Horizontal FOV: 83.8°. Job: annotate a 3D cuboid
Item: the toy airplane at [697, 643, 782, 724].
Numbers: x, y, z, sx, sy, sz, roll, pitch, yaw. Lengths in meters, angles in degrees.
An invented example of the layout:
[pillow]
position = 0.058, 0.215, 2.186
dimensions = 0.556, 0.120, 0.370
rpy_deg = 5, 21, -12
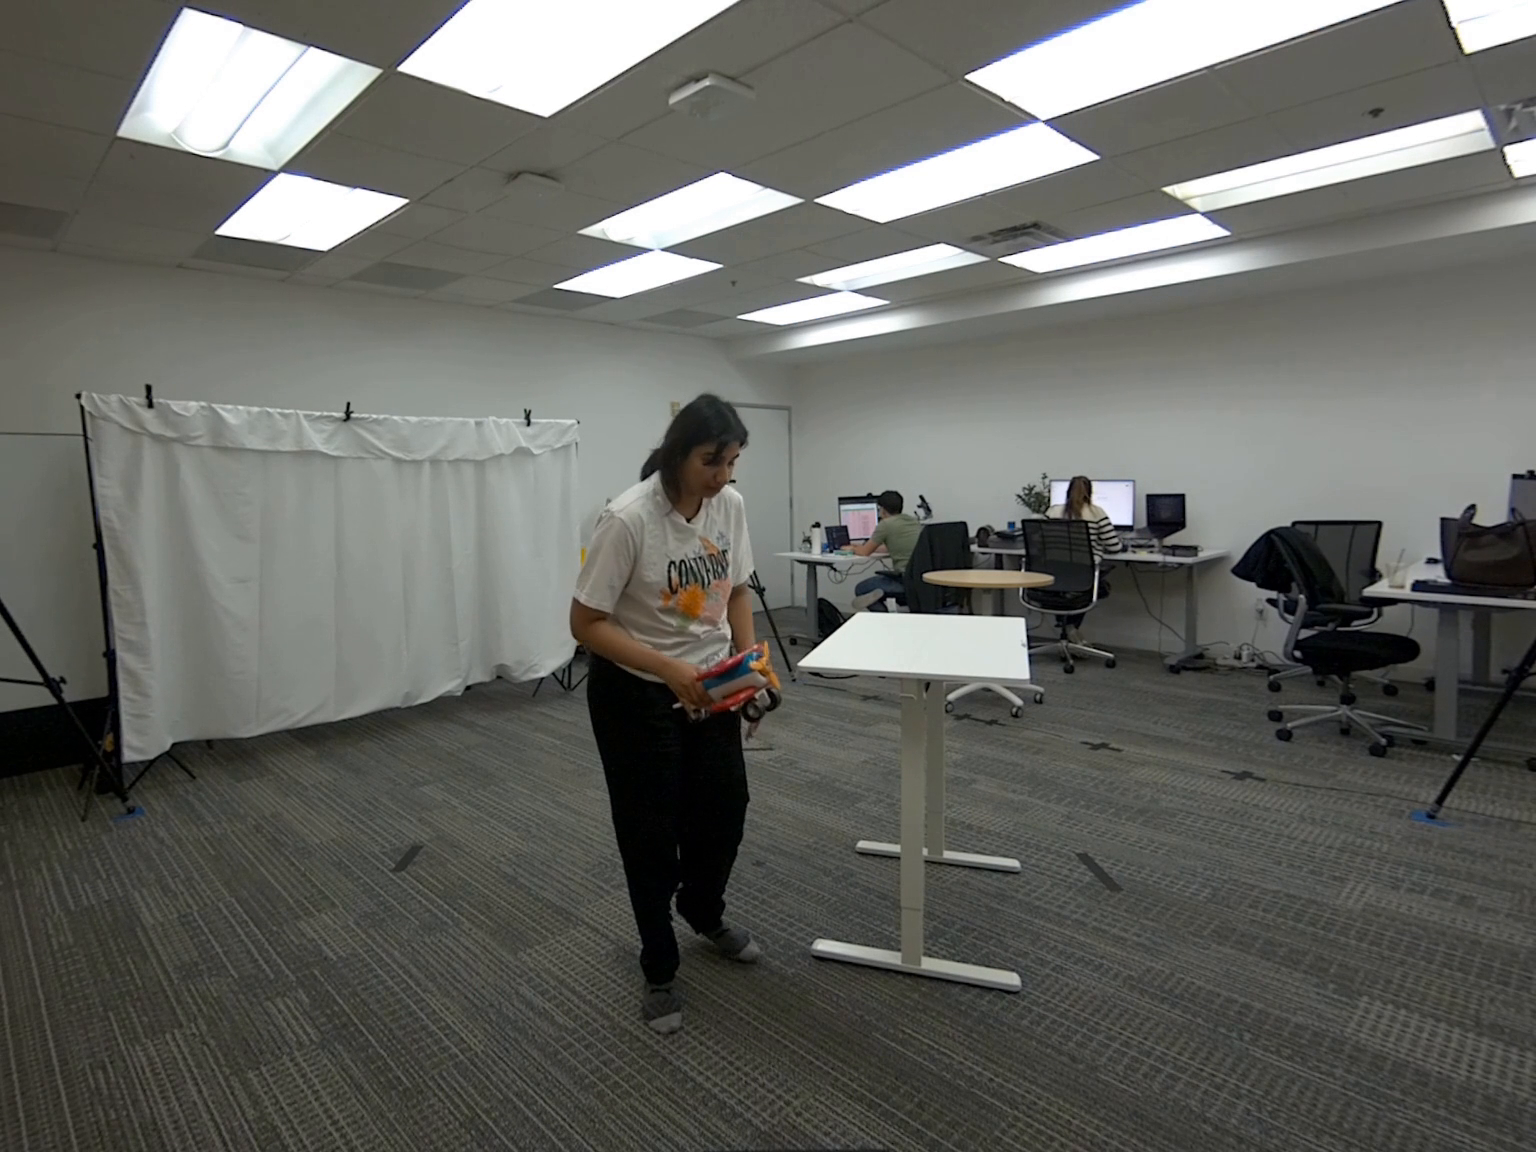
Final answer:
[toy airplane]
position = -0.099, 0.268, 2.003
dimensions = 0.259, 0.156, 0.252
rpy_deg = -12, 4, 1
